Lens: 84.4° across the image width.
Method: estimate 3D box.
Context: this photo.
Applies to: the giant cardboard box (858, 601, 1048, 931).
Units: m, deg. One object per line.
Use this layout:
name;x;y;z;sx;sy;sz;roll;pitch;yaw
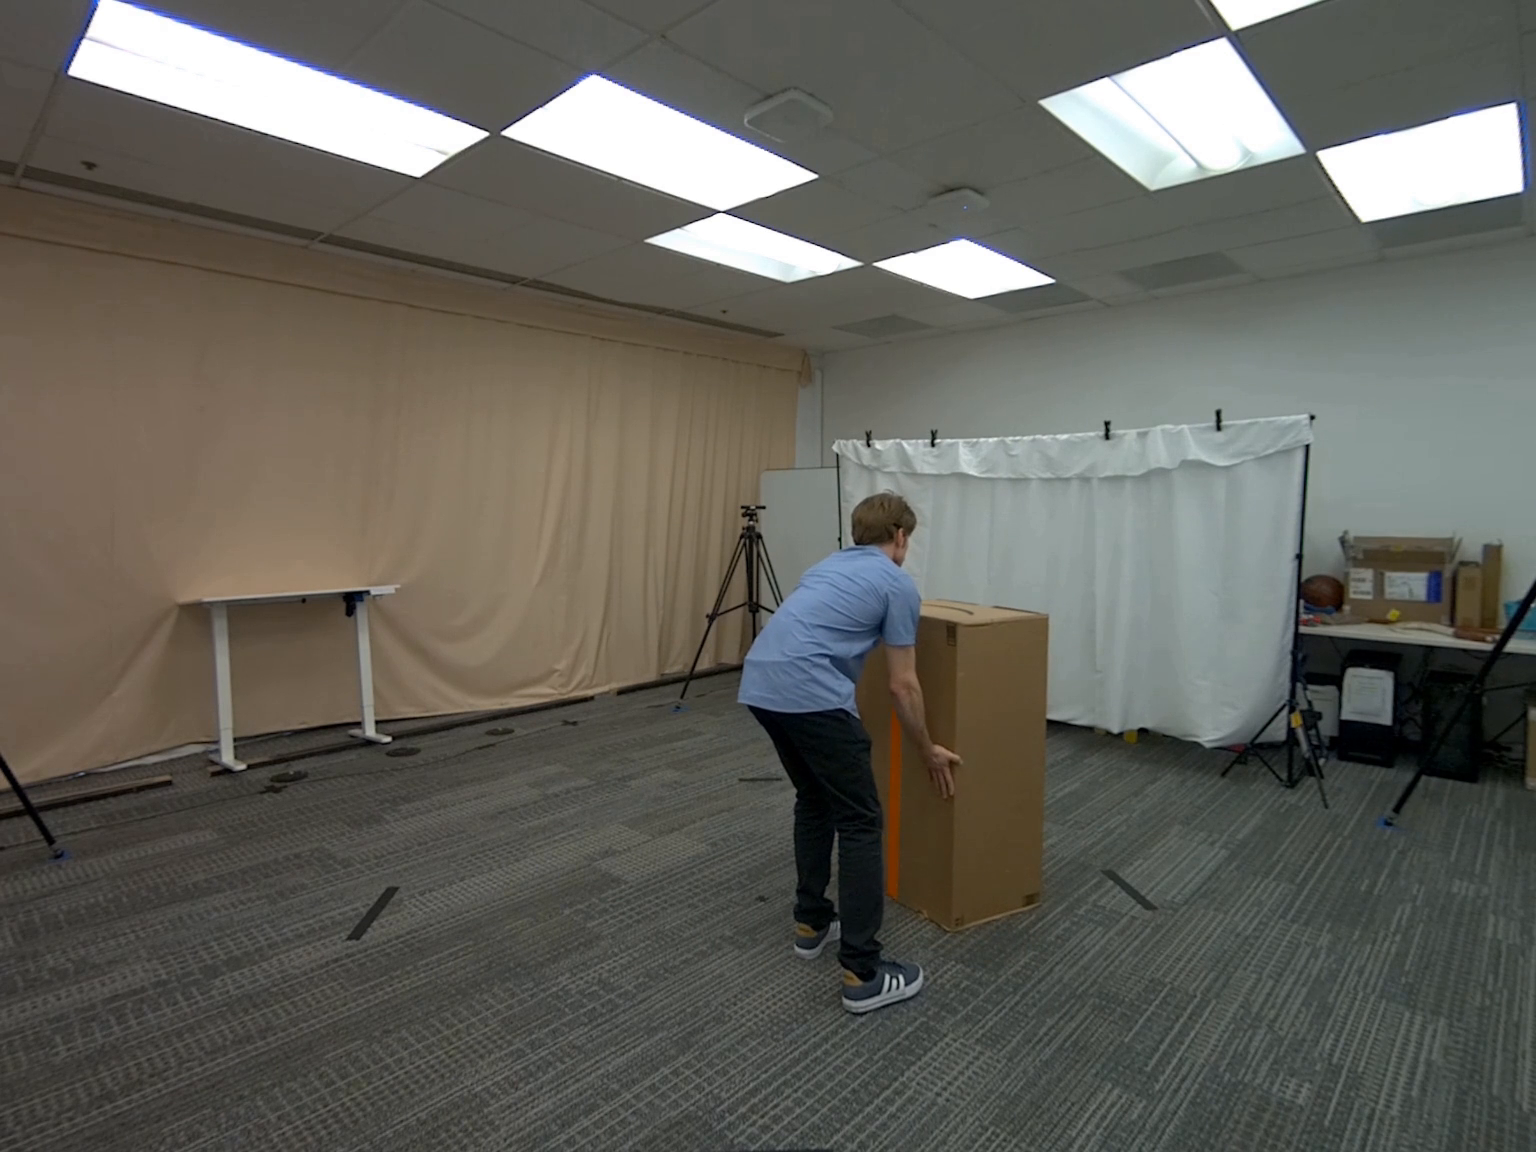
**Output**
giant cardboard box;0.635;0.628;3.058;0.415;1.024;0.594;-1;4;-30
